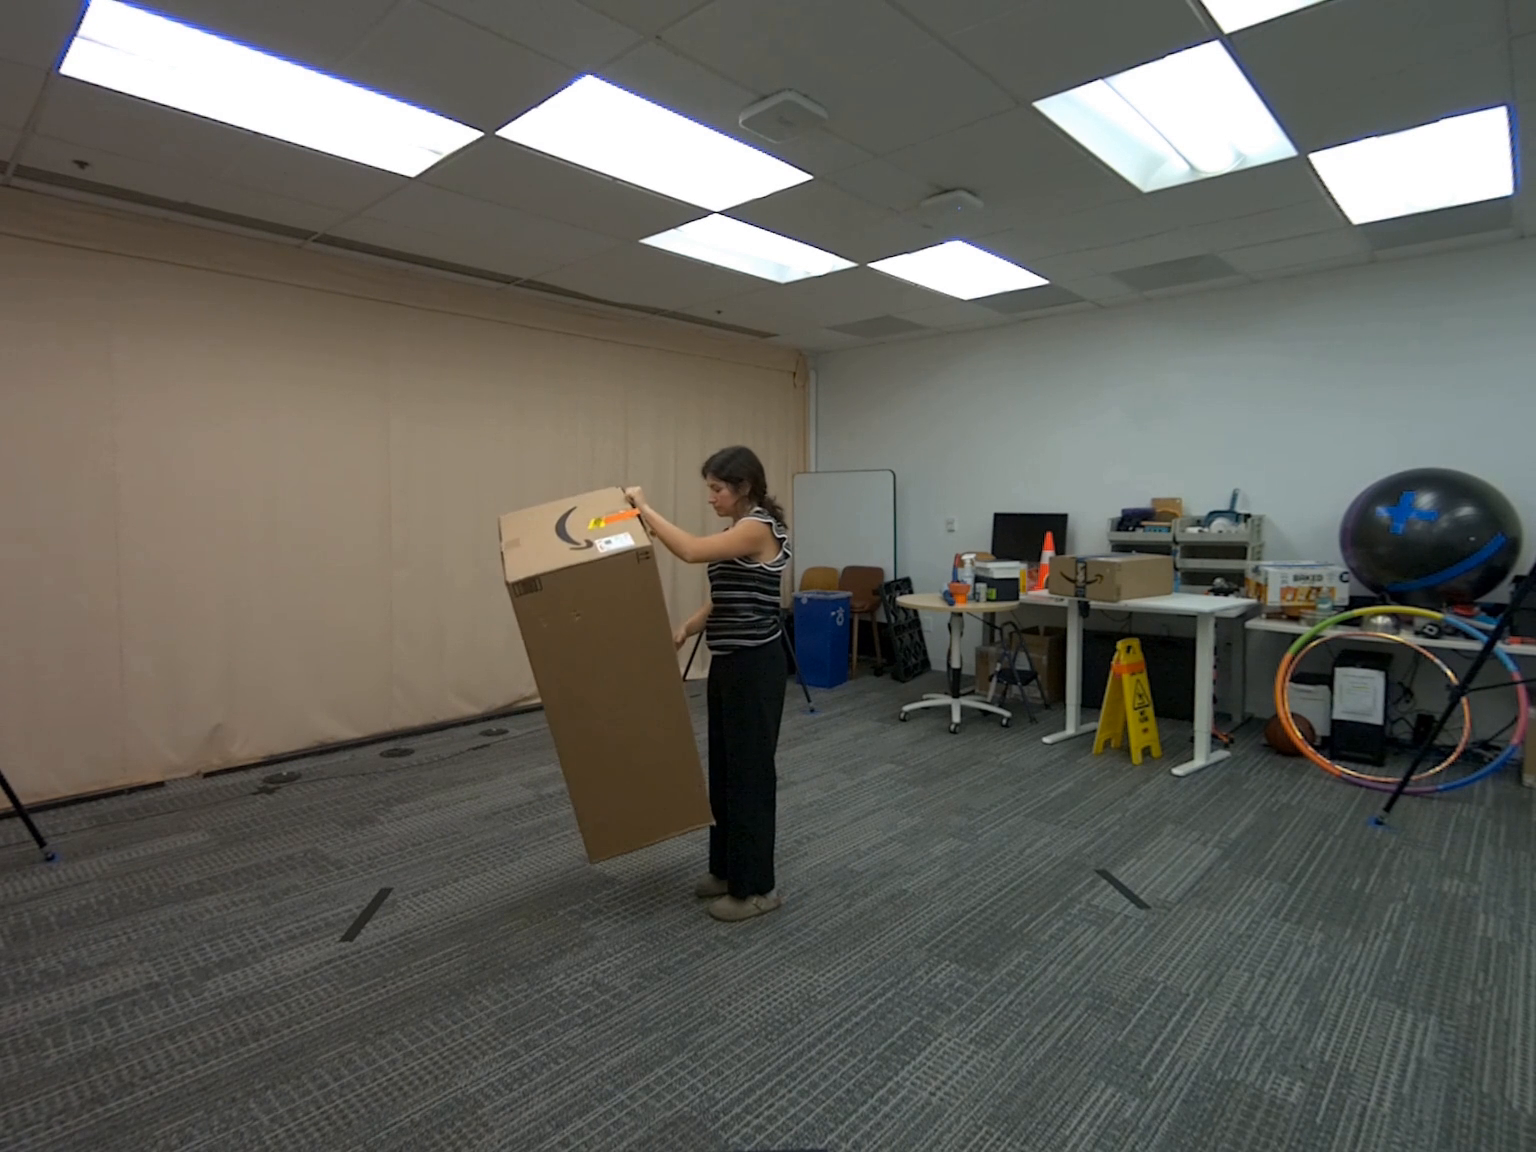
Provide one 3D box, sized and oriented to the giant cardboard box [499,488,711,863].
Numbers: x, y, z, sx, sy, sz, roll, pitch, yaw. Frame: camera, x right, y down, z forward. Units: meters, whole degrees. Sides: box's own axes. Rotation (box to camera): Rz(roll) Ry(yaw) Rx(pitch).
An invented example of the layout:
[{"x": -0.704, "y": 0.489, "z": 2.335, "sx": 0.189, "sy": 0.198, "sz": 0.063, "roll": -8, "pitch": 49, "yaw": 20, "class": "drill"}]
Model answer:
[{"x": -0.531, "y": 0.304, "z": 2.784, "sx": 0.423, "sy": 1.008, "sz": 0.592, "roll": -13, "pitch": 24, "yaw": -10, "class": "giant cardboard box"}]
